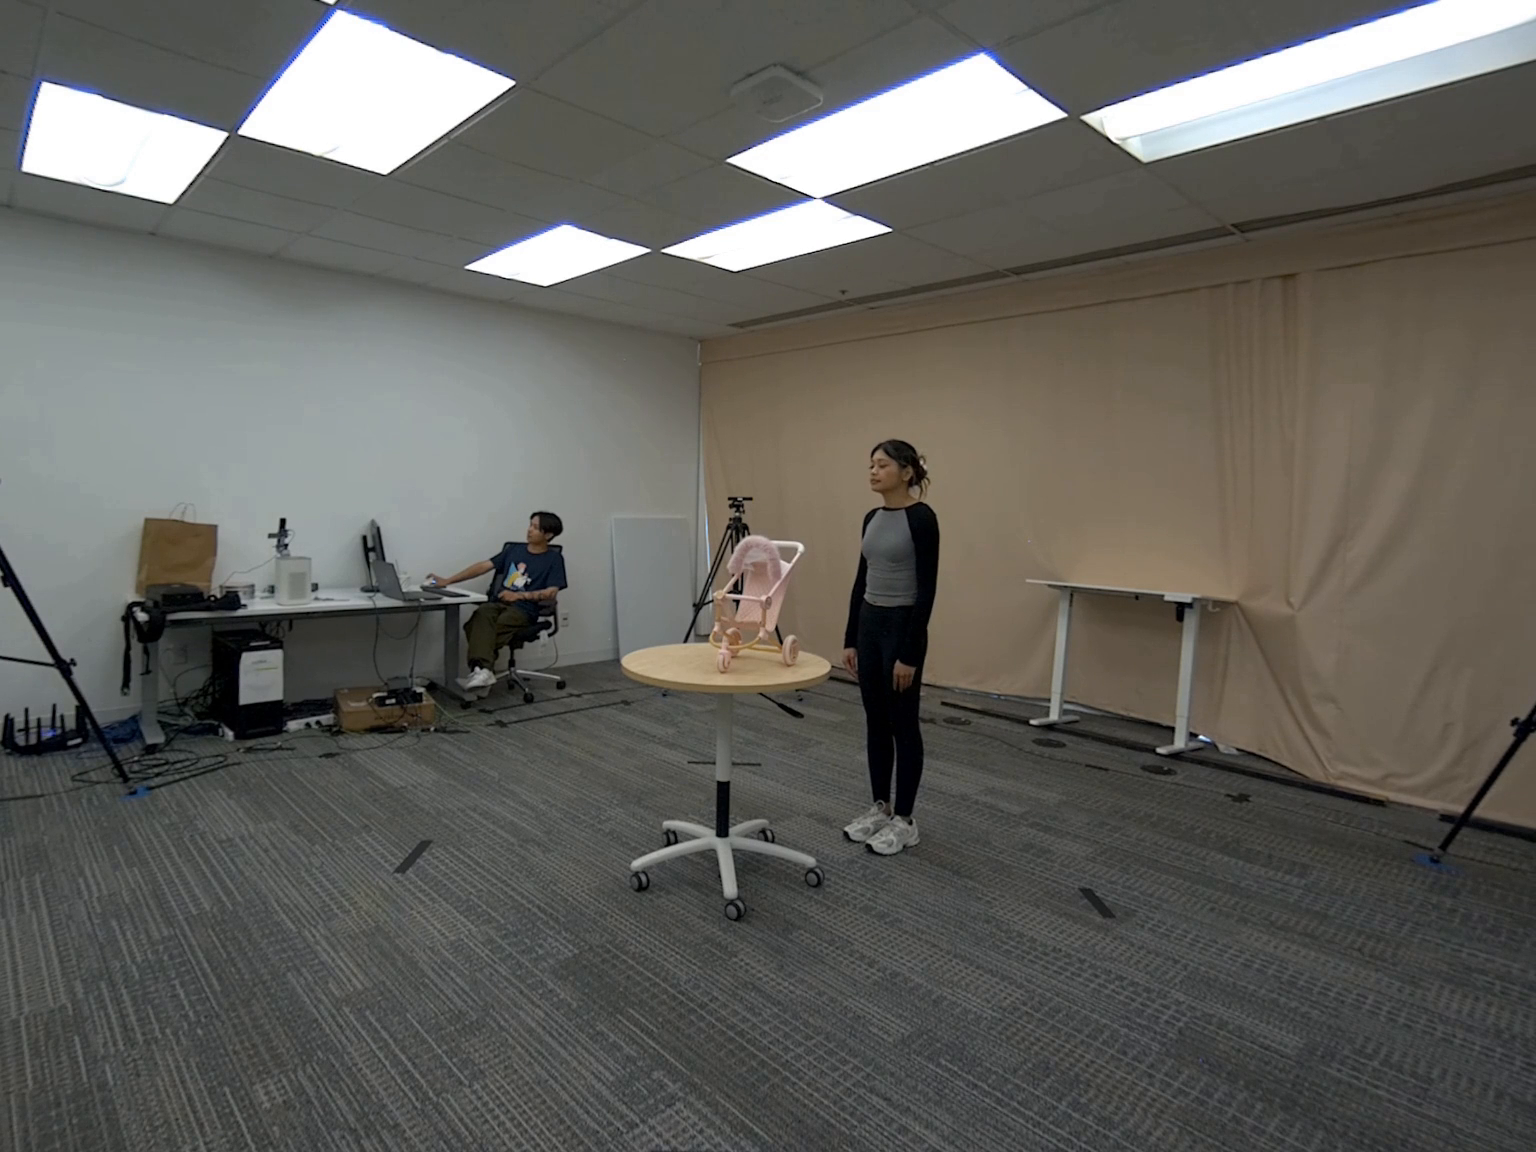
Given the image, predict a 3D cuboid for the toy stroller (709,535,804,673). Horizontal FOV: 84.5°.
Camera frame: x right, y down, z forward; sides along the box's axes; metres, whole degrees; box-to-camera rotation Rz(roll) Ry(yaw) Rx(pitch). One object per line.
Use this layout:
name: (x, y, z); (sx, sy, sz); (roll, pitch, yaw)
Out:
toy stroller: (-0.062, 0.096, 3.046); (0.288, 0.538, 0.331); (4, -10, 35)
